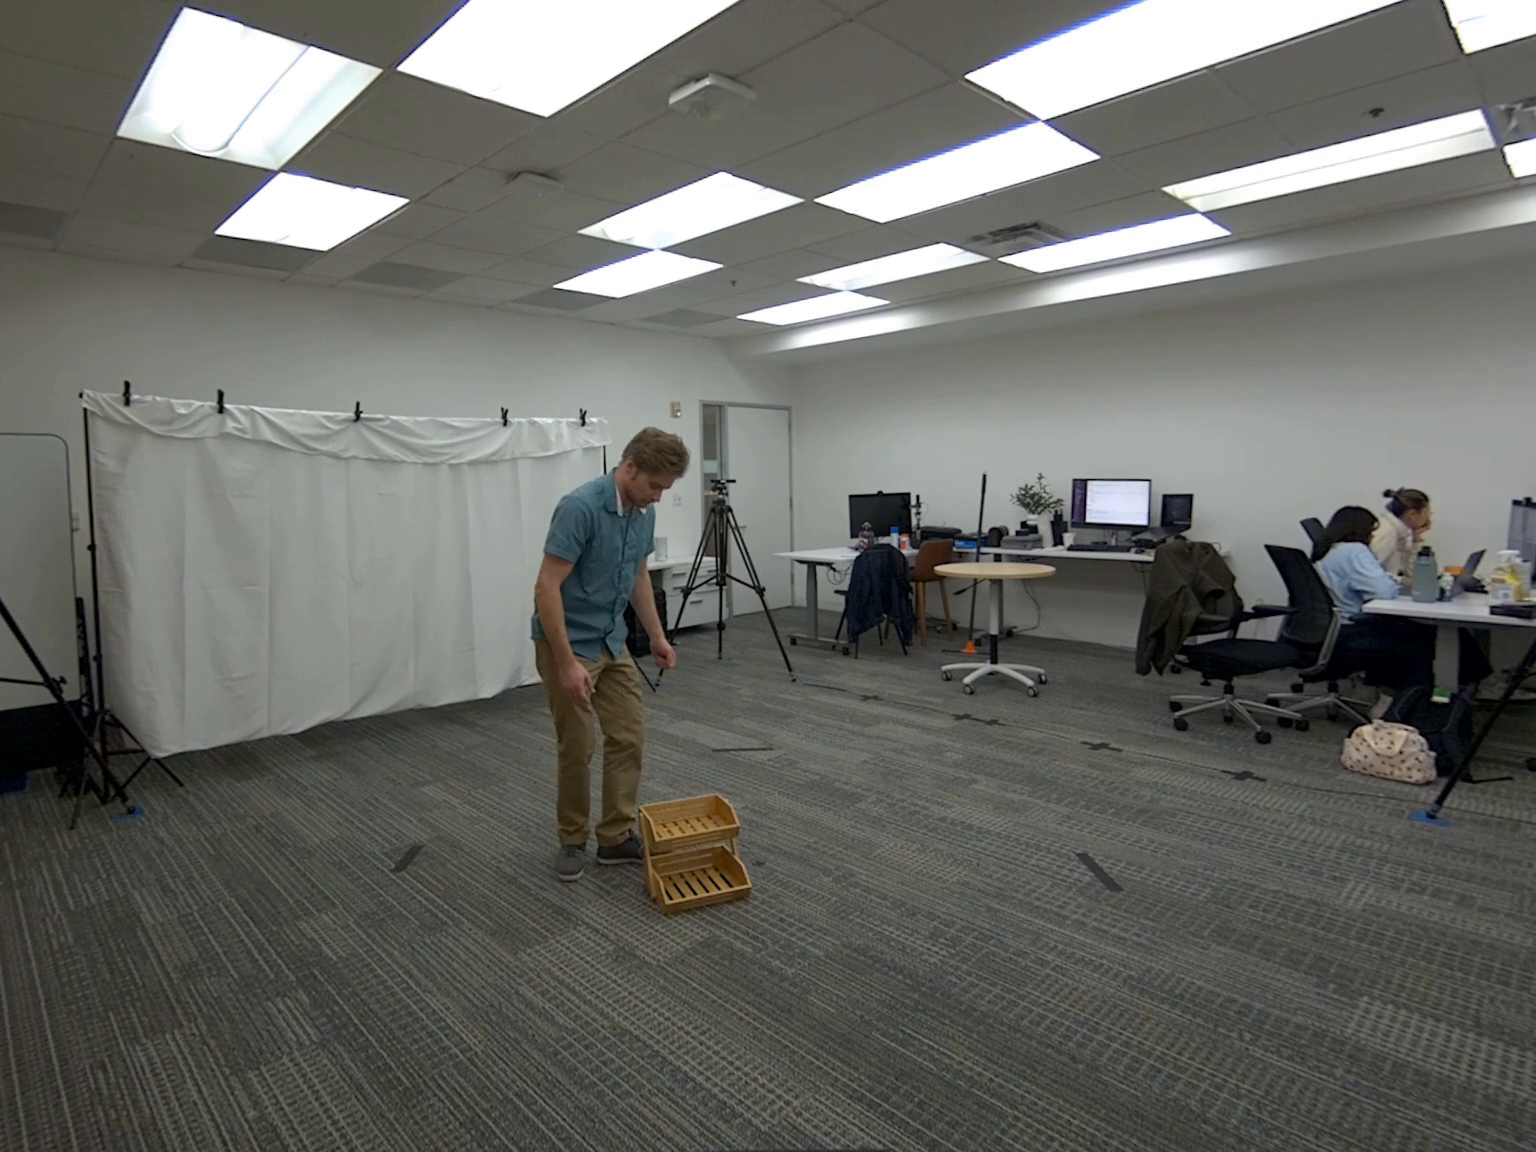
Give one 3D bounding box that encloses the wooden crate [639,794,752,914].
[{"bbox_3d":[-0.250,0.939,2.916,0.318,0.272,0.309,-3,6,-23],"label":"wooden crate"}]
